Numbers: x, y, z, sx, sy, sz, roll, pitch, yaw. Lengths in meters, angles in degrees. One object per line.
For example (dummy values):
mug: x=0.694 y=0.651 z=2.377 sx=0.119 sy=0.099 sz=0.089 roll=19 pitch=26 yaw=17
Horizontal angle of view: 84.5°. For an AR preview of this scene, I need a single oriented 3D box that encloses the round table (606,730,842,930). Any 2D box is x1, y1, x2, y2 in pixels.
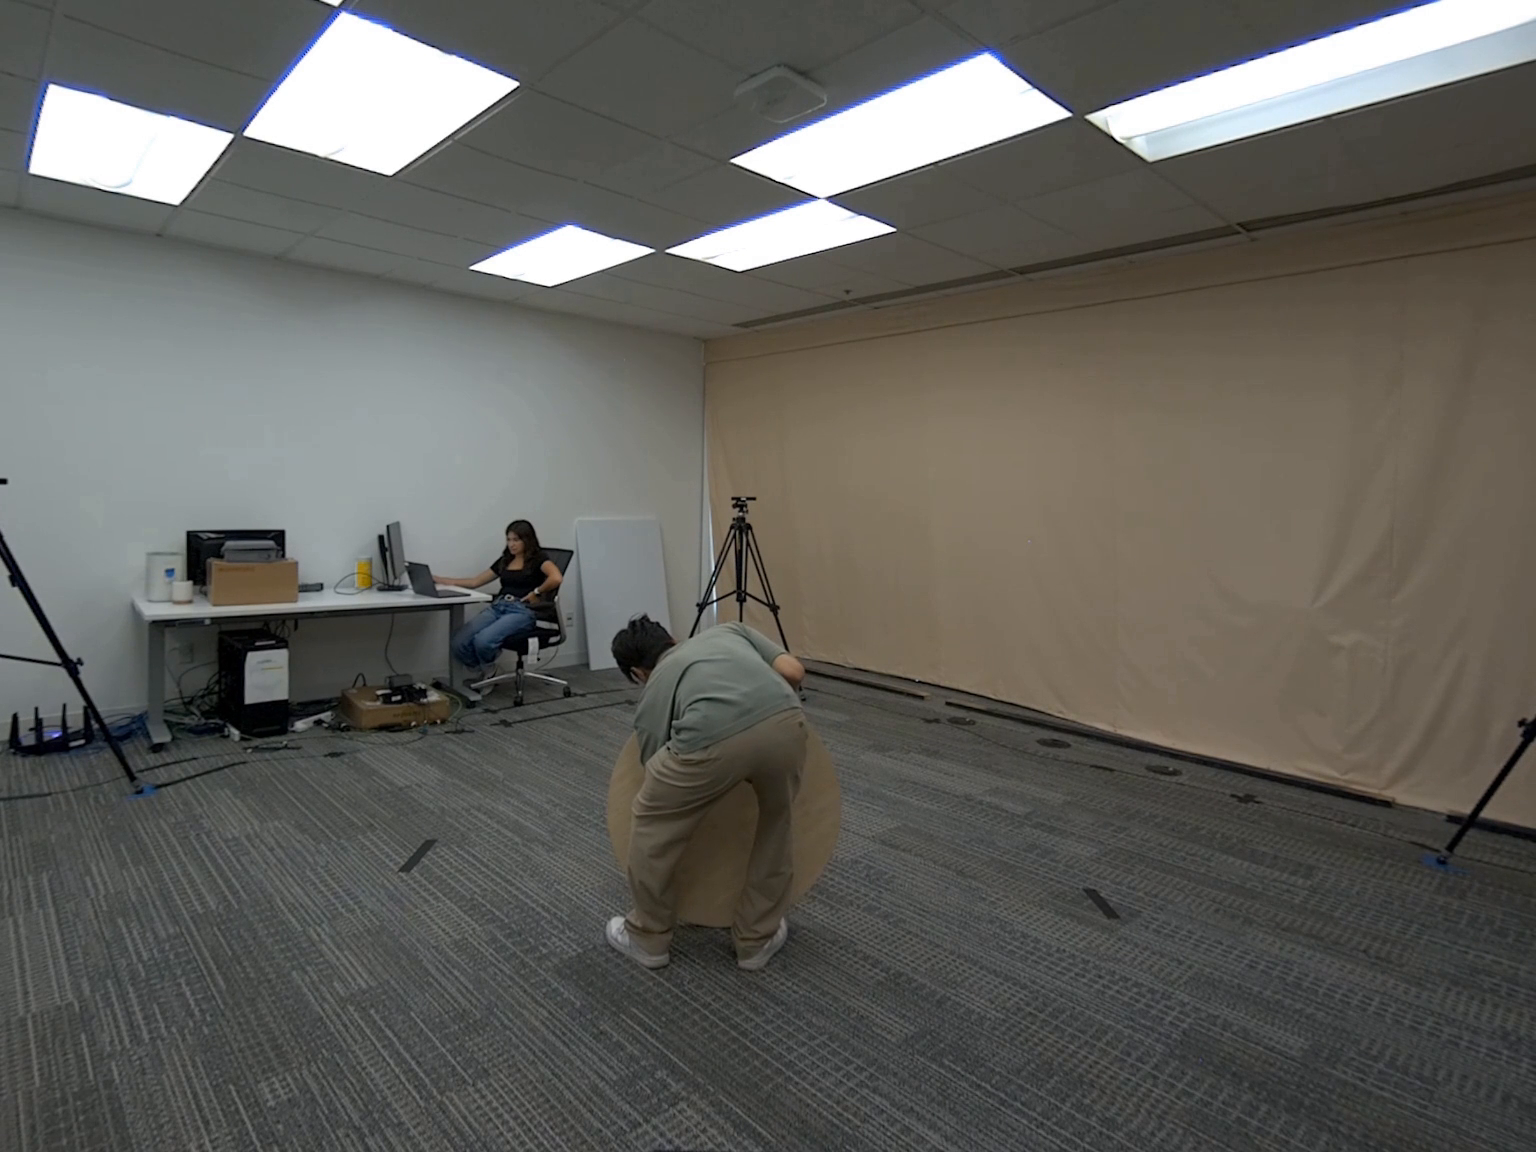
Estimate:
round table: x=-0.178 y=0.740 z=3.136 sx=0.783 sy=0.785 sz=0.789 roll=1 pitch=0 yaw=-4
